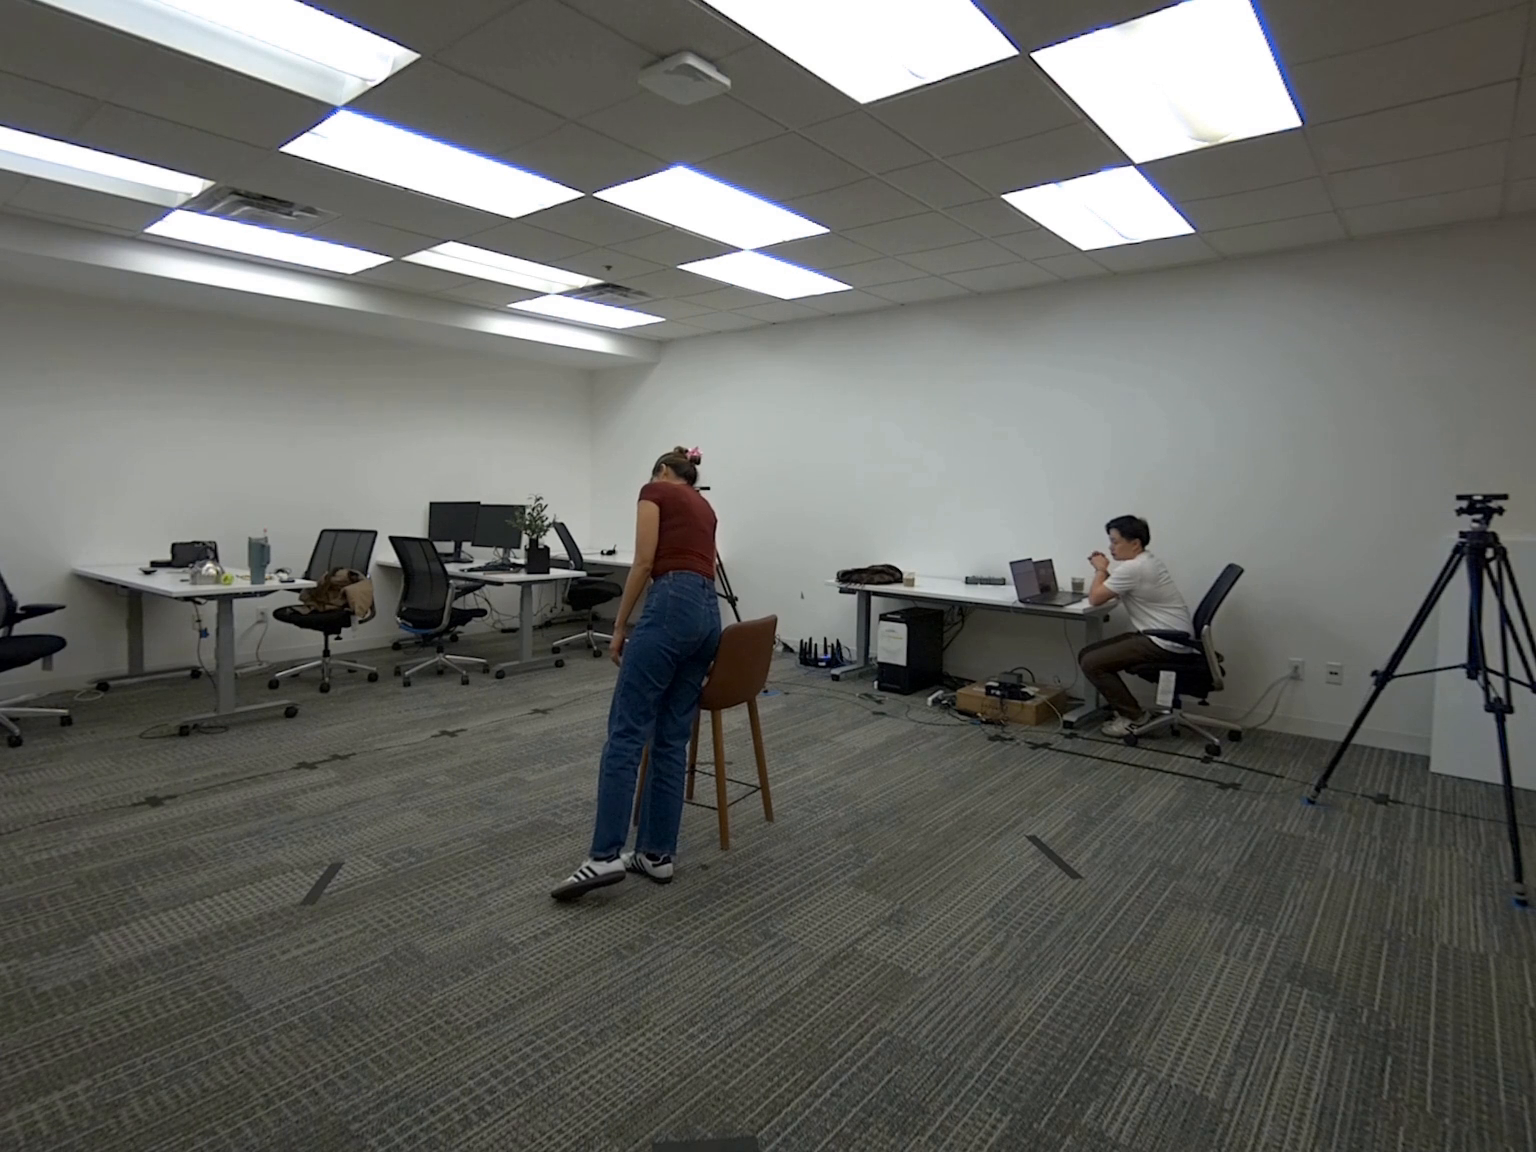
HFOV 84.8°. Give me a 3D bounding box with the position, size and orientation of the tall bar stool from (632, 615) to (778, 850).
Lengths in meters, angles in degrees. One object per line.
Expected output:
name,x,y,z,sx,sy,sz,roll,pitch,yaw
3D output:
tall bar stool,-0.256,0.593,3.525,0.482,0.887,0.444,4,4,31
